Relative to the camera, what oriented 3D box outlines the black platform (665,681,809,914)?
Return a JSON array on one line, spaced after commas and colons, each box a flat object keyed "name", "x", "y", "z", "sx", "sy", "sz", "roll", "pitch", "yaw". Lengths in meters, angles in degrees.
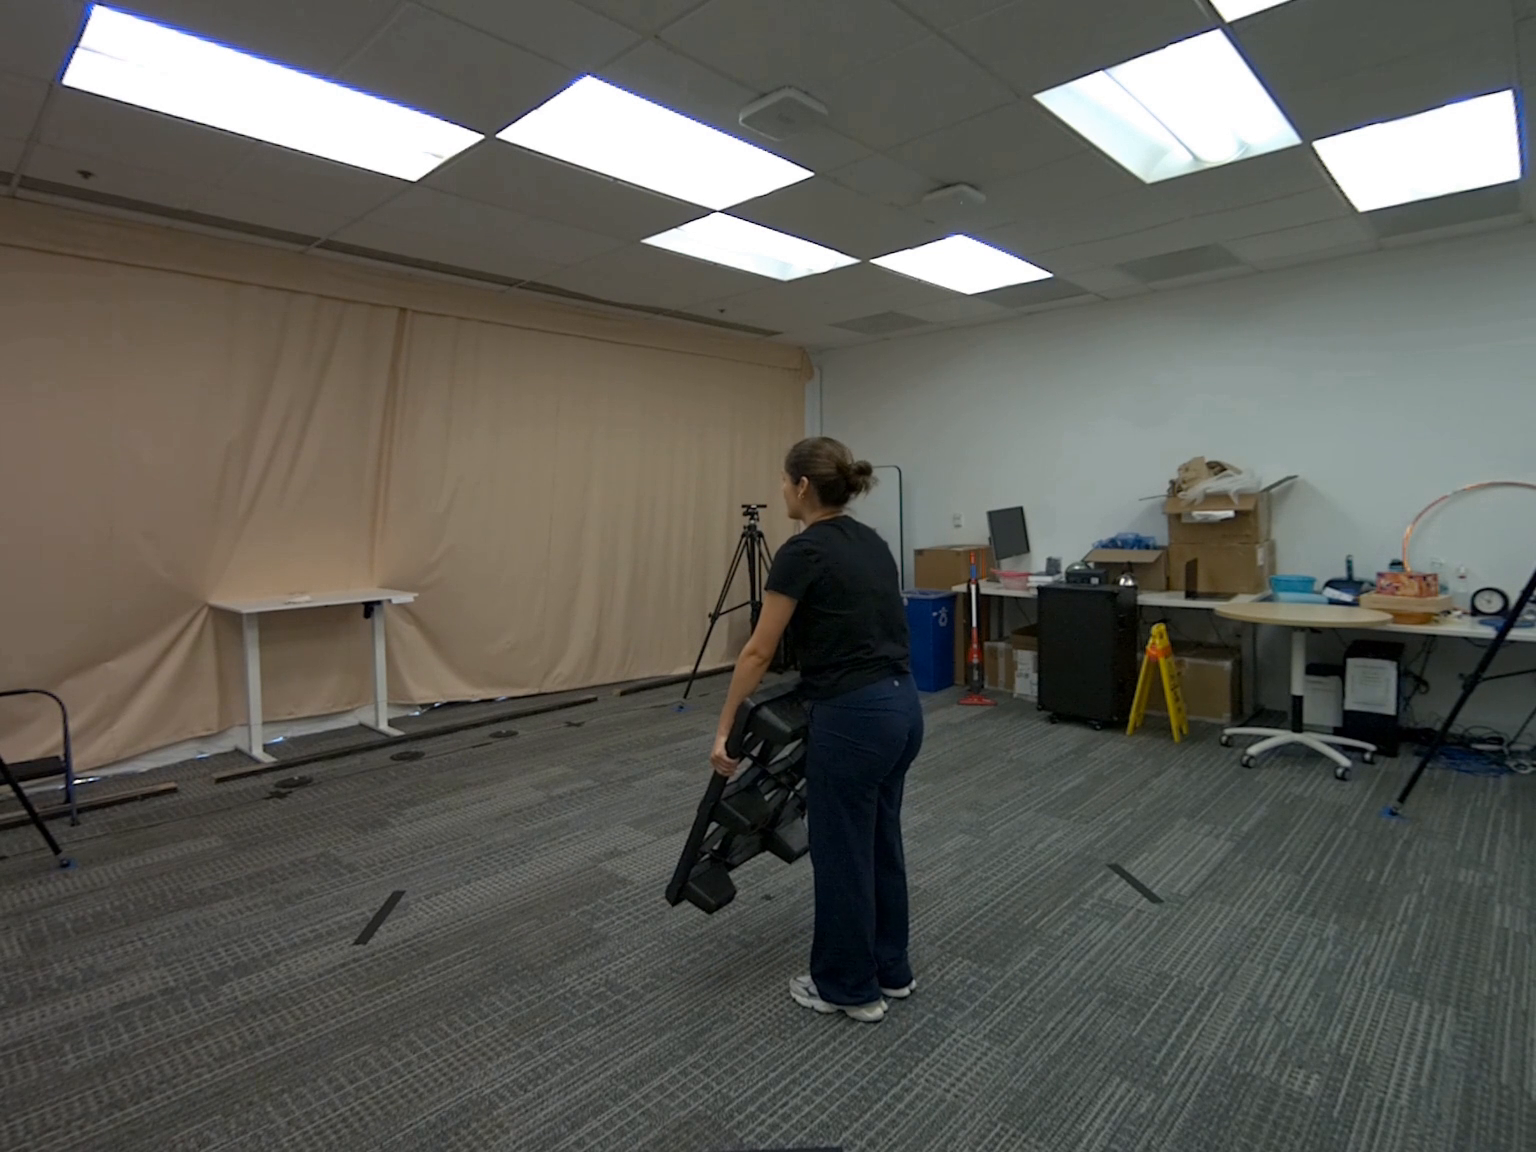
[{"name": "black platform", "x": 0.061, "y": 0.620, "z": 2.514, "sx": 0.148, "sy": 0.800, "sz": 0.589, "roll": 37, "pitch": 32, "yaw": 30}]
